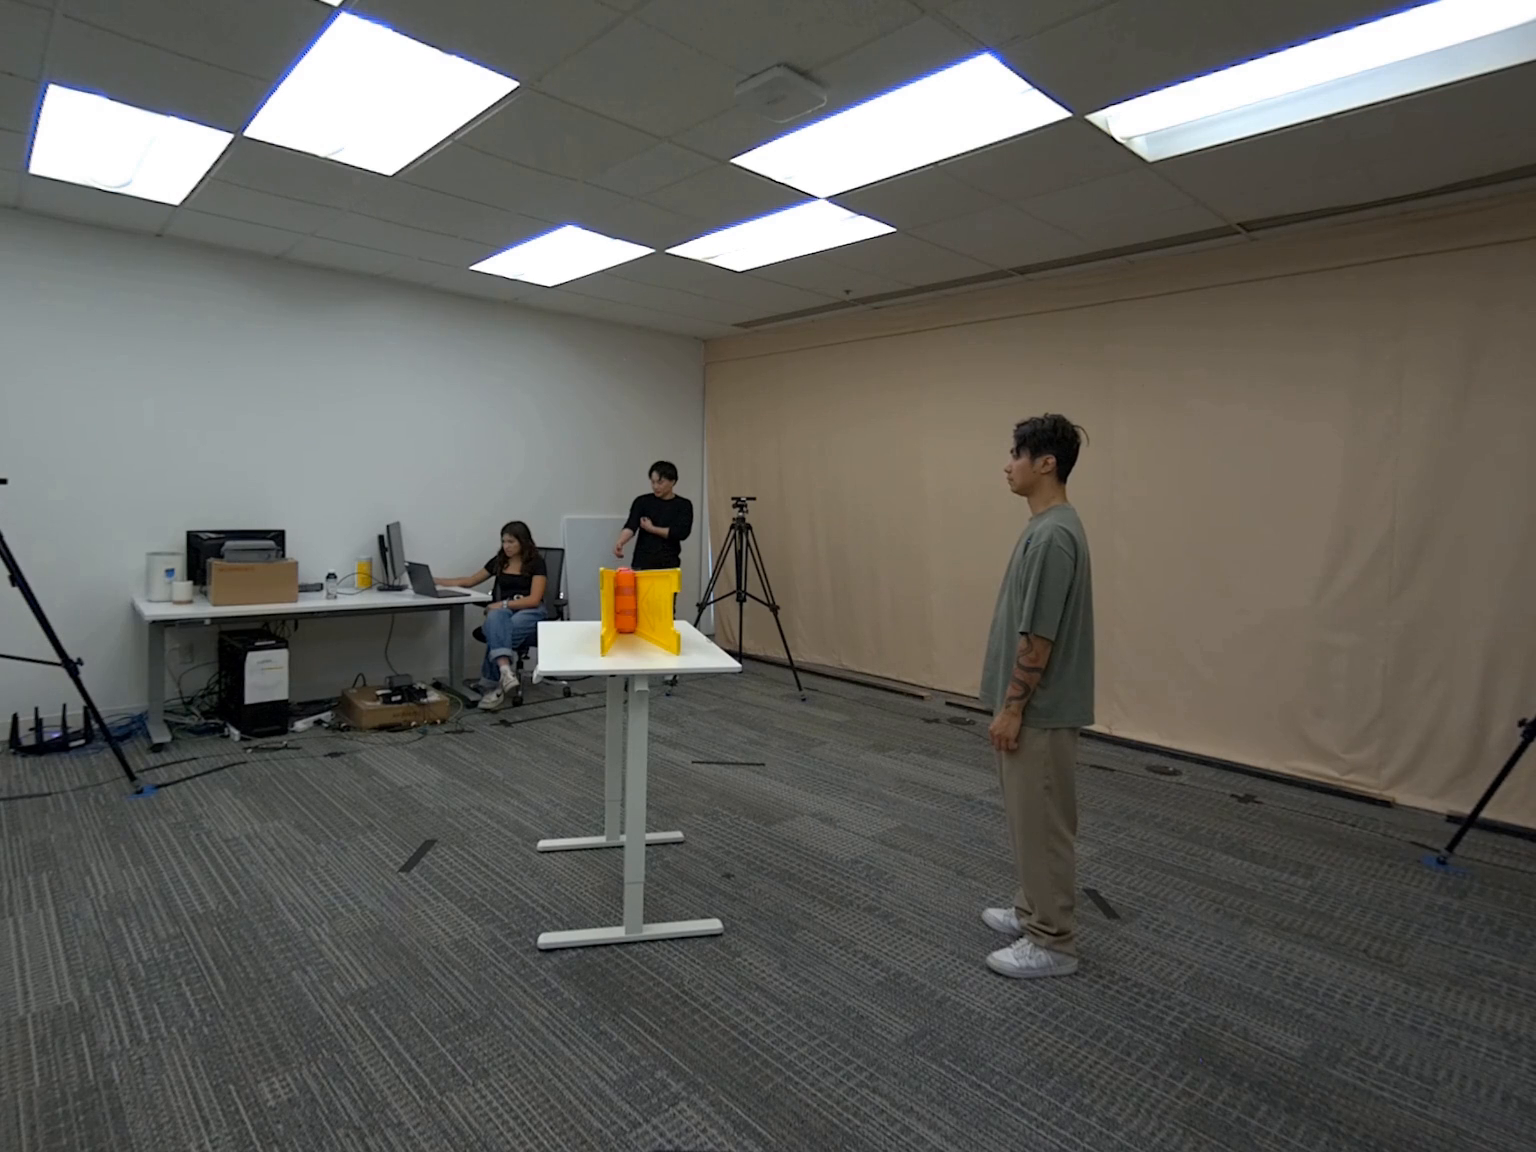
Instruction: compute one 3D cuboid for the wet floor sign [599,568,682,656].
[{"bbox_3d":[-0.502,0.105,2.989,0.287,0.282,0.653,1,1,-13],"label":"wet floor sign"}]
